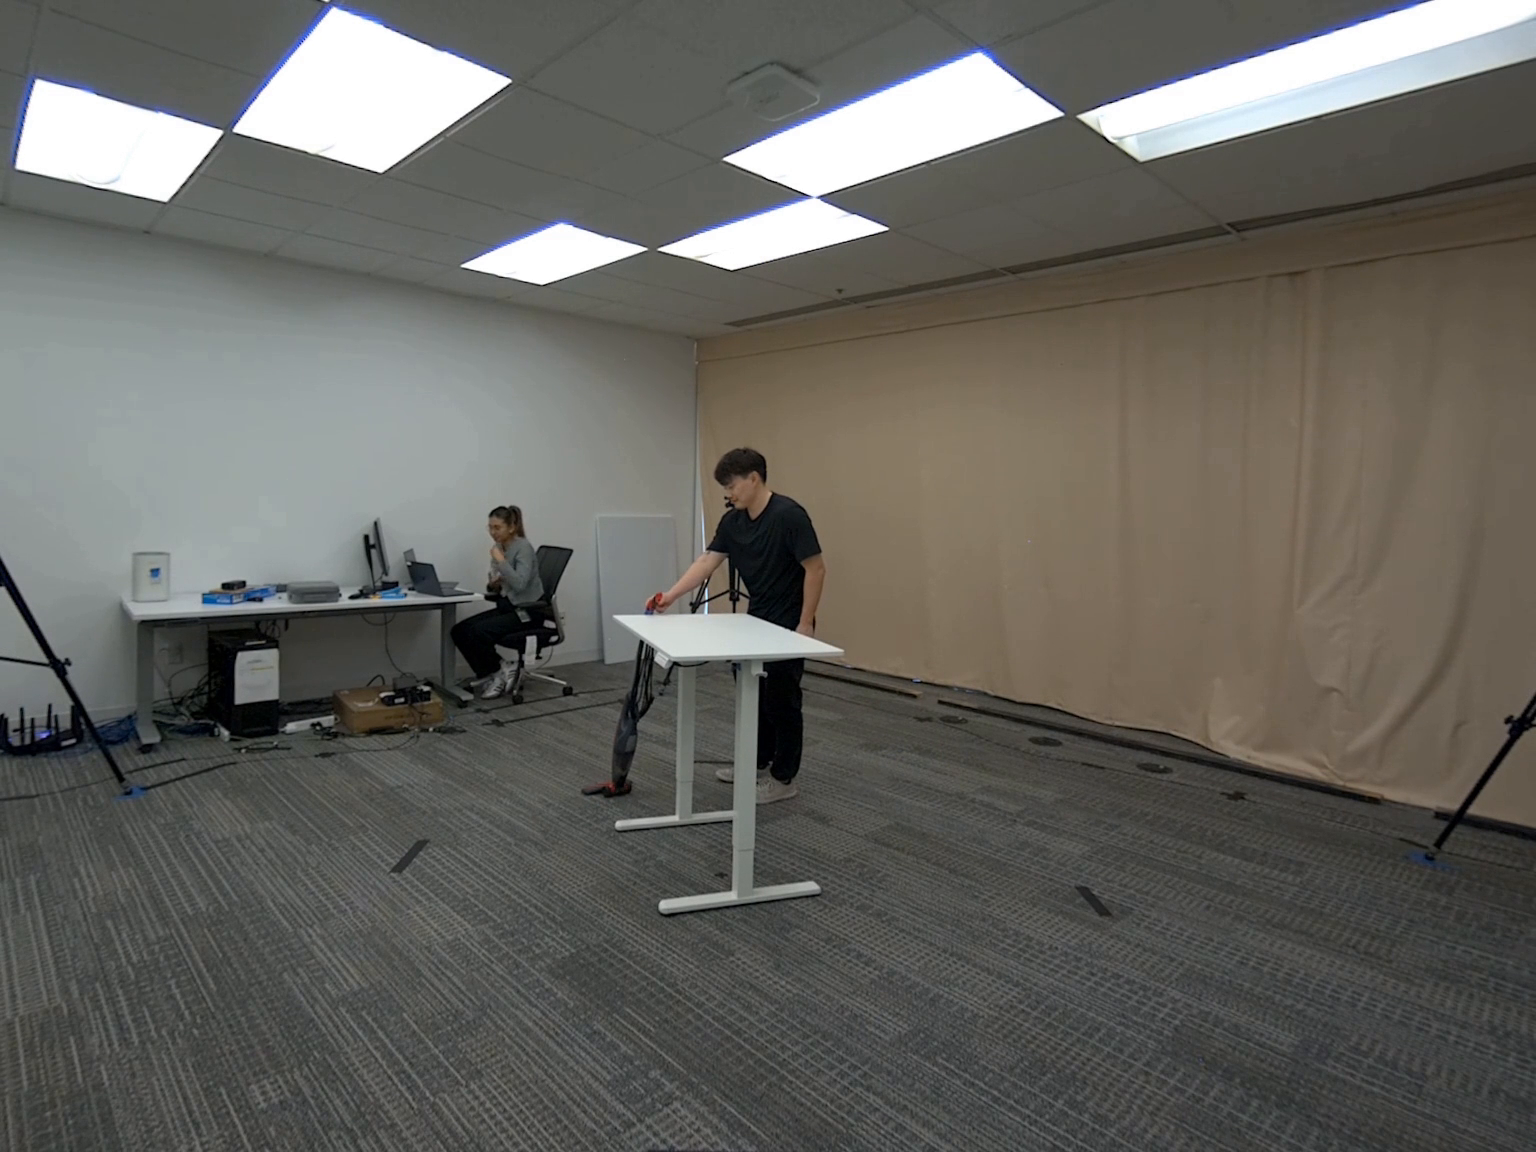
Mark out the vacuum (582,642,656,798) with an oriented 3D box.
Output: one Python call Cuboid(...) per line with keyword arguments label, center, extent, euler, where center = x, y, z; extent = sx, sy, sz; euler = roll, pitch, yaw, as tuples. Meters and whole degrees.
Cuboid(label="vacuum", center=(-0.613, 0.552, 3.779), extent=(0.247, 1.039, 0.148), euler=(-4, 28, -42))
